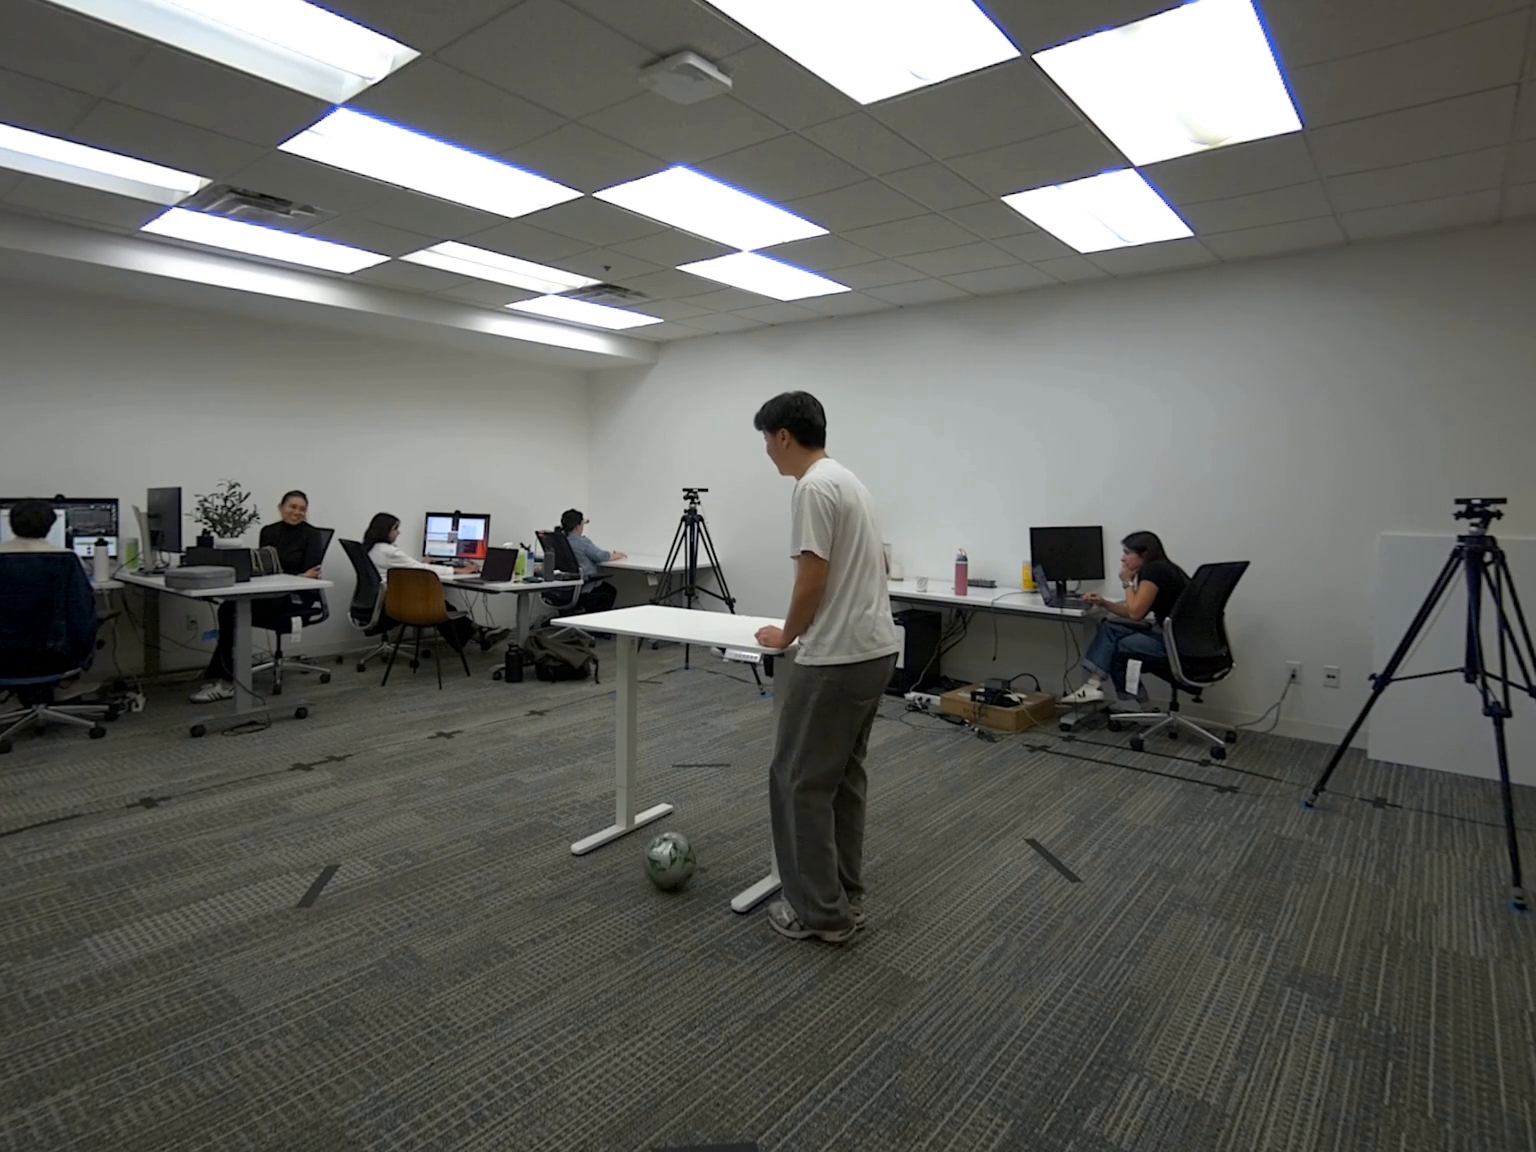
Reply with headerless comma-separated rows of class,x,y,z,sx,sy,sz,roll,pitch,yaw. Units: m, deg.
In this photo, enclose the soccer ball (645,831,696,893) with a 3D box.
soccer ball,-0.342,0.982,2.962,0.187,0.187,0.188,1,4,-2
